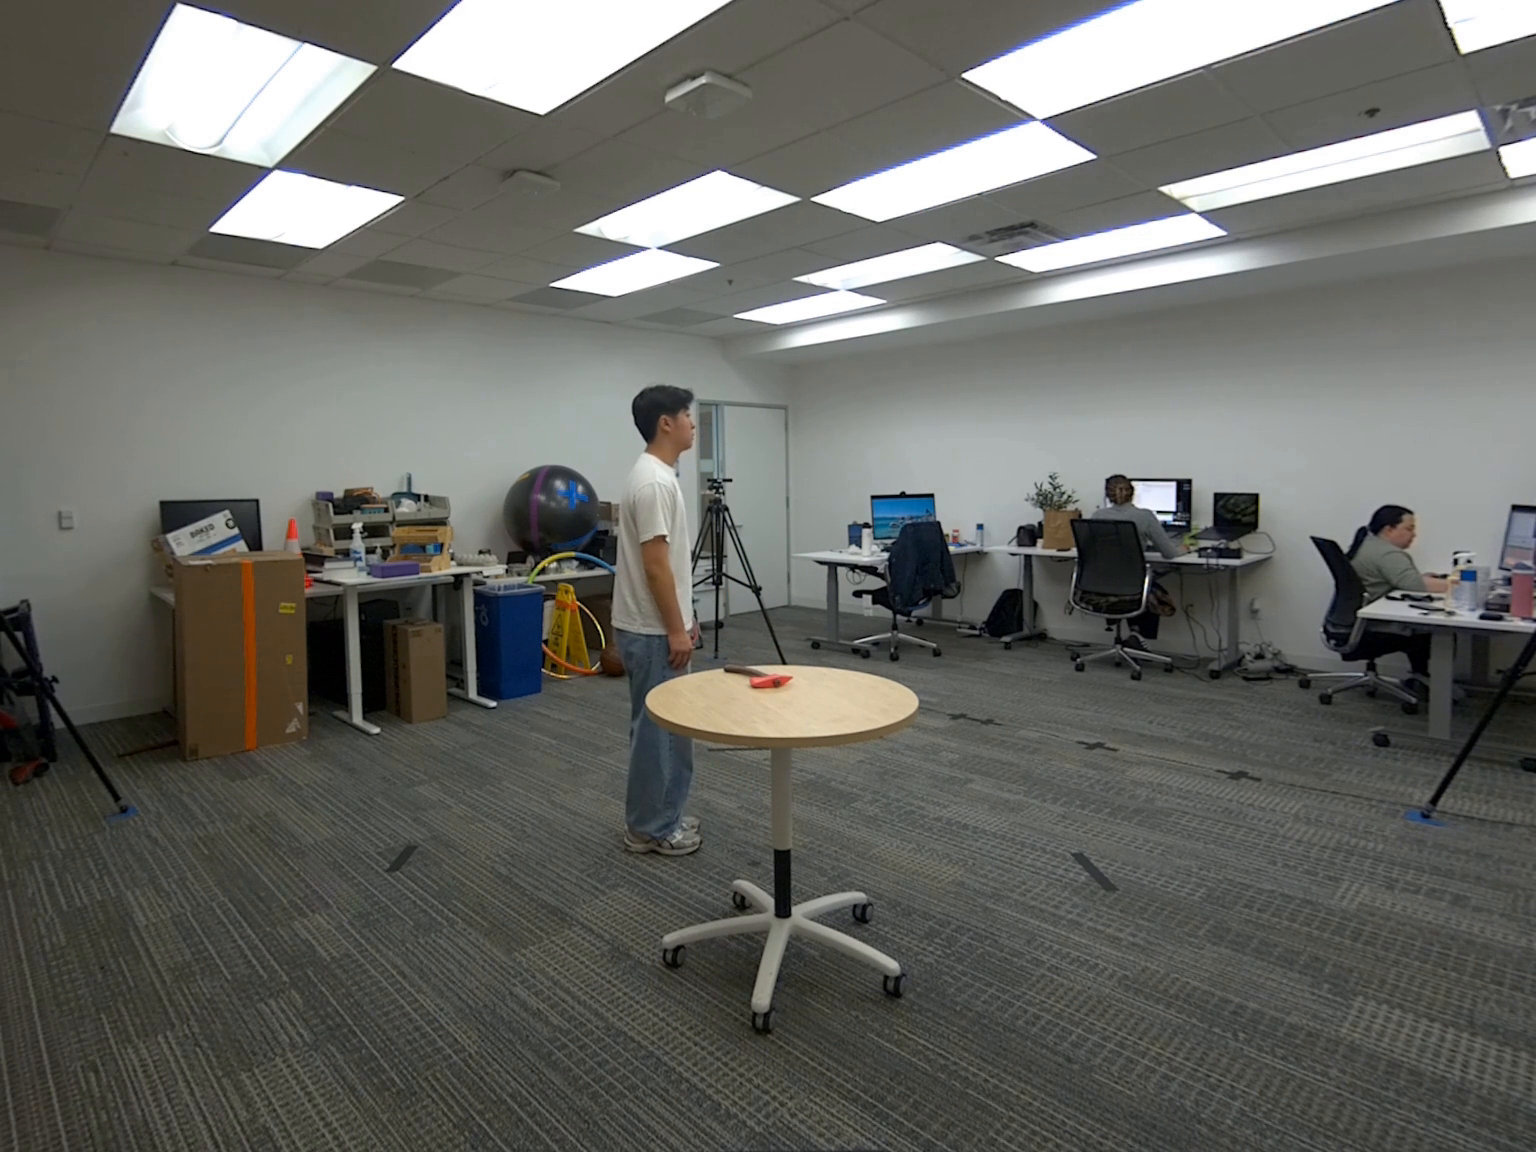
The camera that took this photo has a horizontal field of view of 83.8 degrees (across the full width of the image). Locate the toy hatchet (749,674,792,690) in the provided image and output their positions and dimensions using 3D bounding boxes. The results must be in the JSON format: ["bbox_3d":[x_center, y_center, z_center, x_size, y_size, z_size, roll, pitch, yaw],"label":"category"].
[{"bbox_3d":[-0.057,0.307,2.610,0.128,0.029,0.278,-13,12,-44],"label":"toy hatchet"}]
